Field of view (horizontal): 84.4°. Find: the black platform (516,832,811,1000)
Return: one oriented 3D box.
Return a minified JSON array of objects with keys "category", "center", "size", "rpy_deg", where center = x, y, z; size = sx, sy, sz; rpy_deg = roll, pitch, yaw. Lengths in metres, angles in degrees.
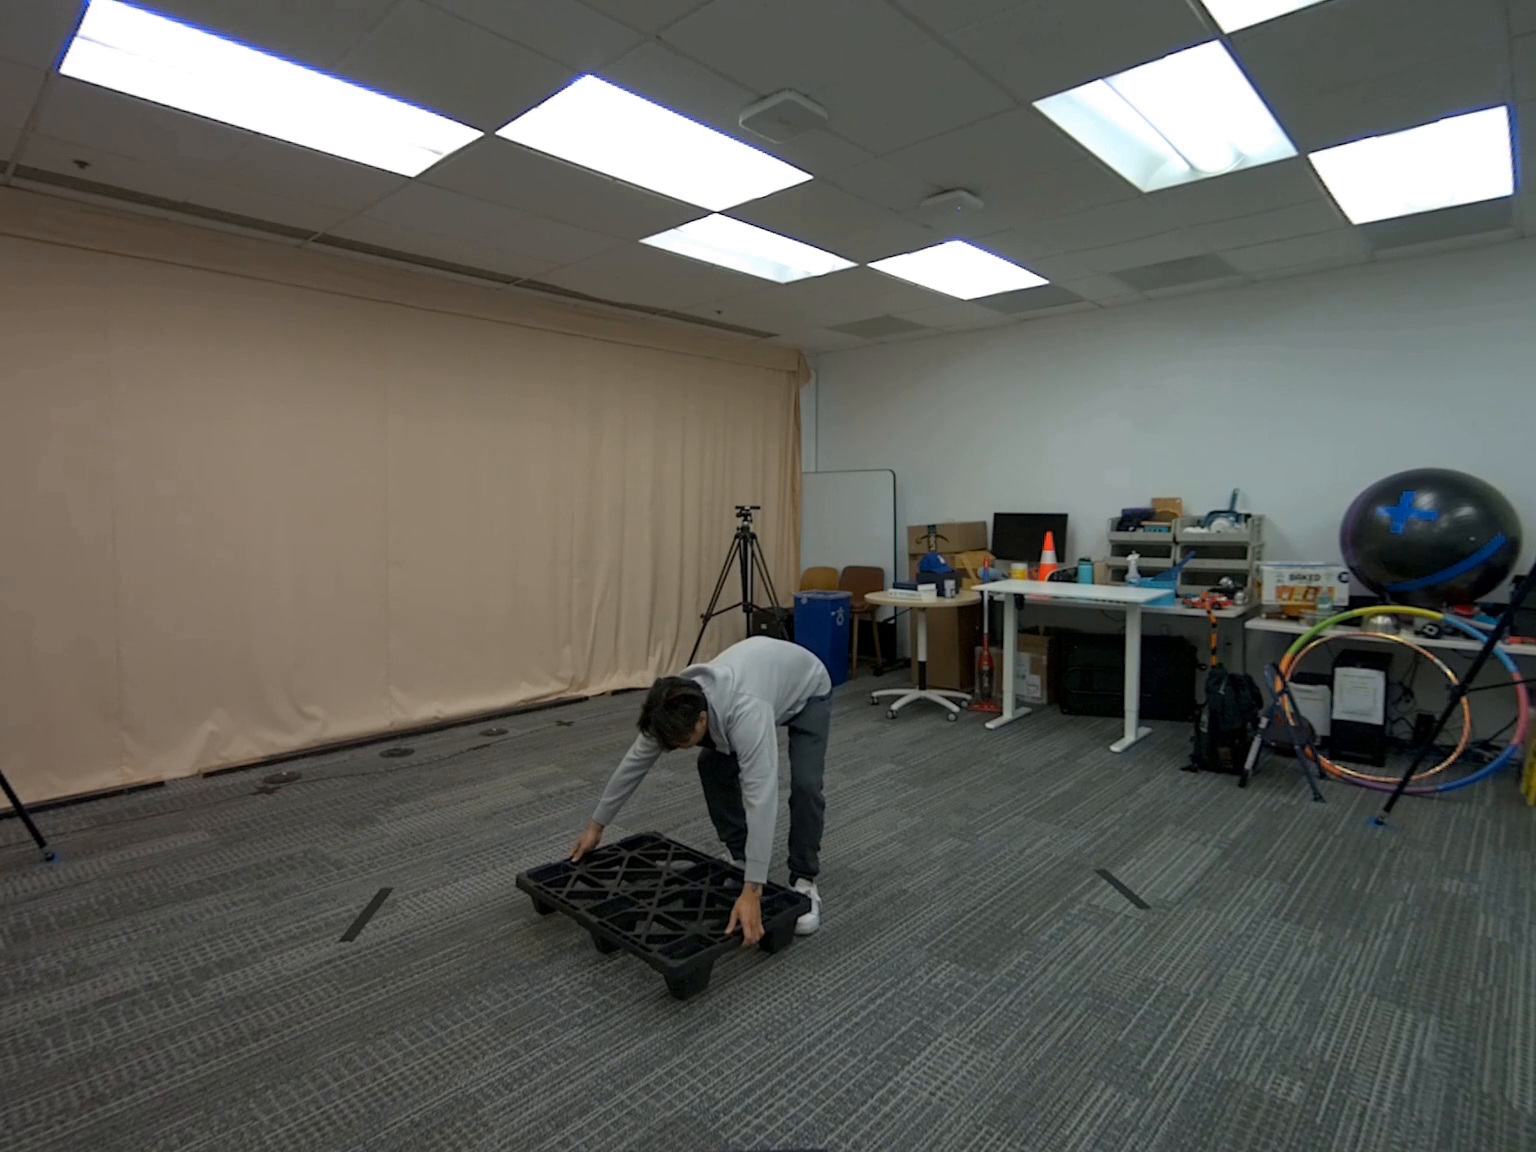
[{"category":"black platform","center":[-0.349,1.072,2.726],"size":[0.832,0.143,0.586],"rpy_deg":[4,5,44]}]
